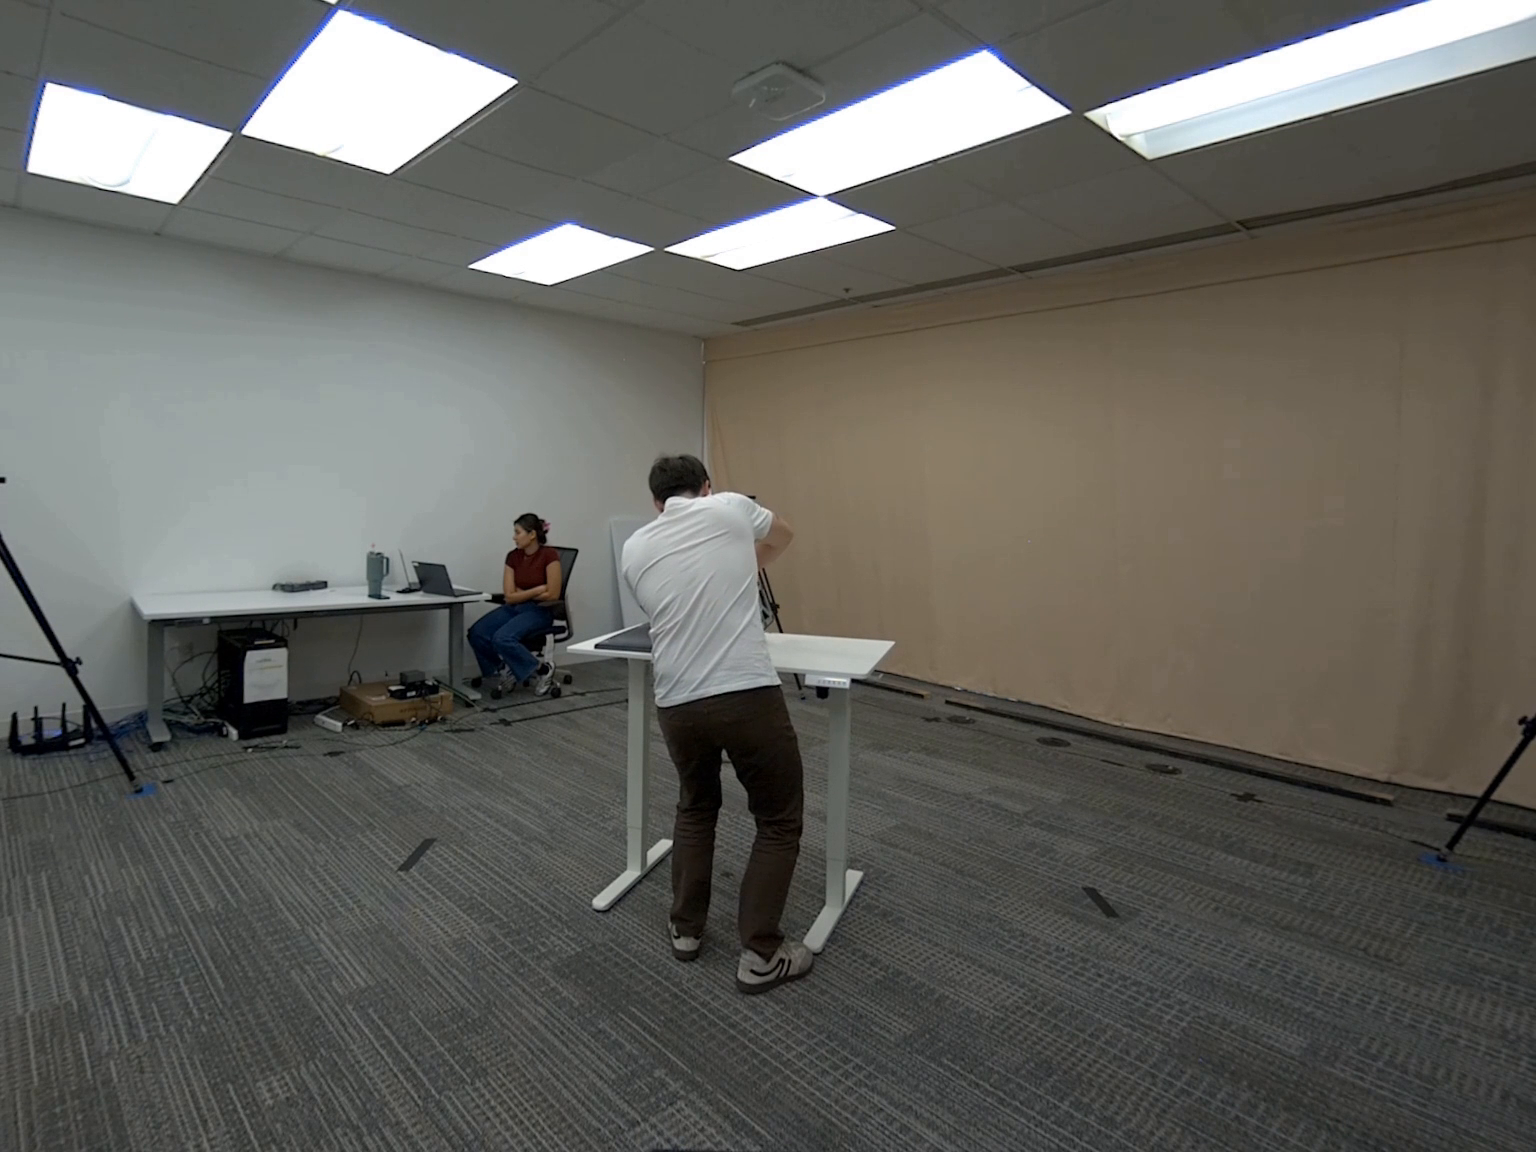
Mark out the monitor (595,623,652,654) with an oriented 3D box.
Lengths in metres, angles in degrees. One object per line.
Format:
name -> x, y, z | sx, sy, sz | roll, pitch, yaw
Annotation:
monitor -> -0.270, 0.169, 2.967 | 0.527, 0.187, 0.533 | -16, -1, 15
